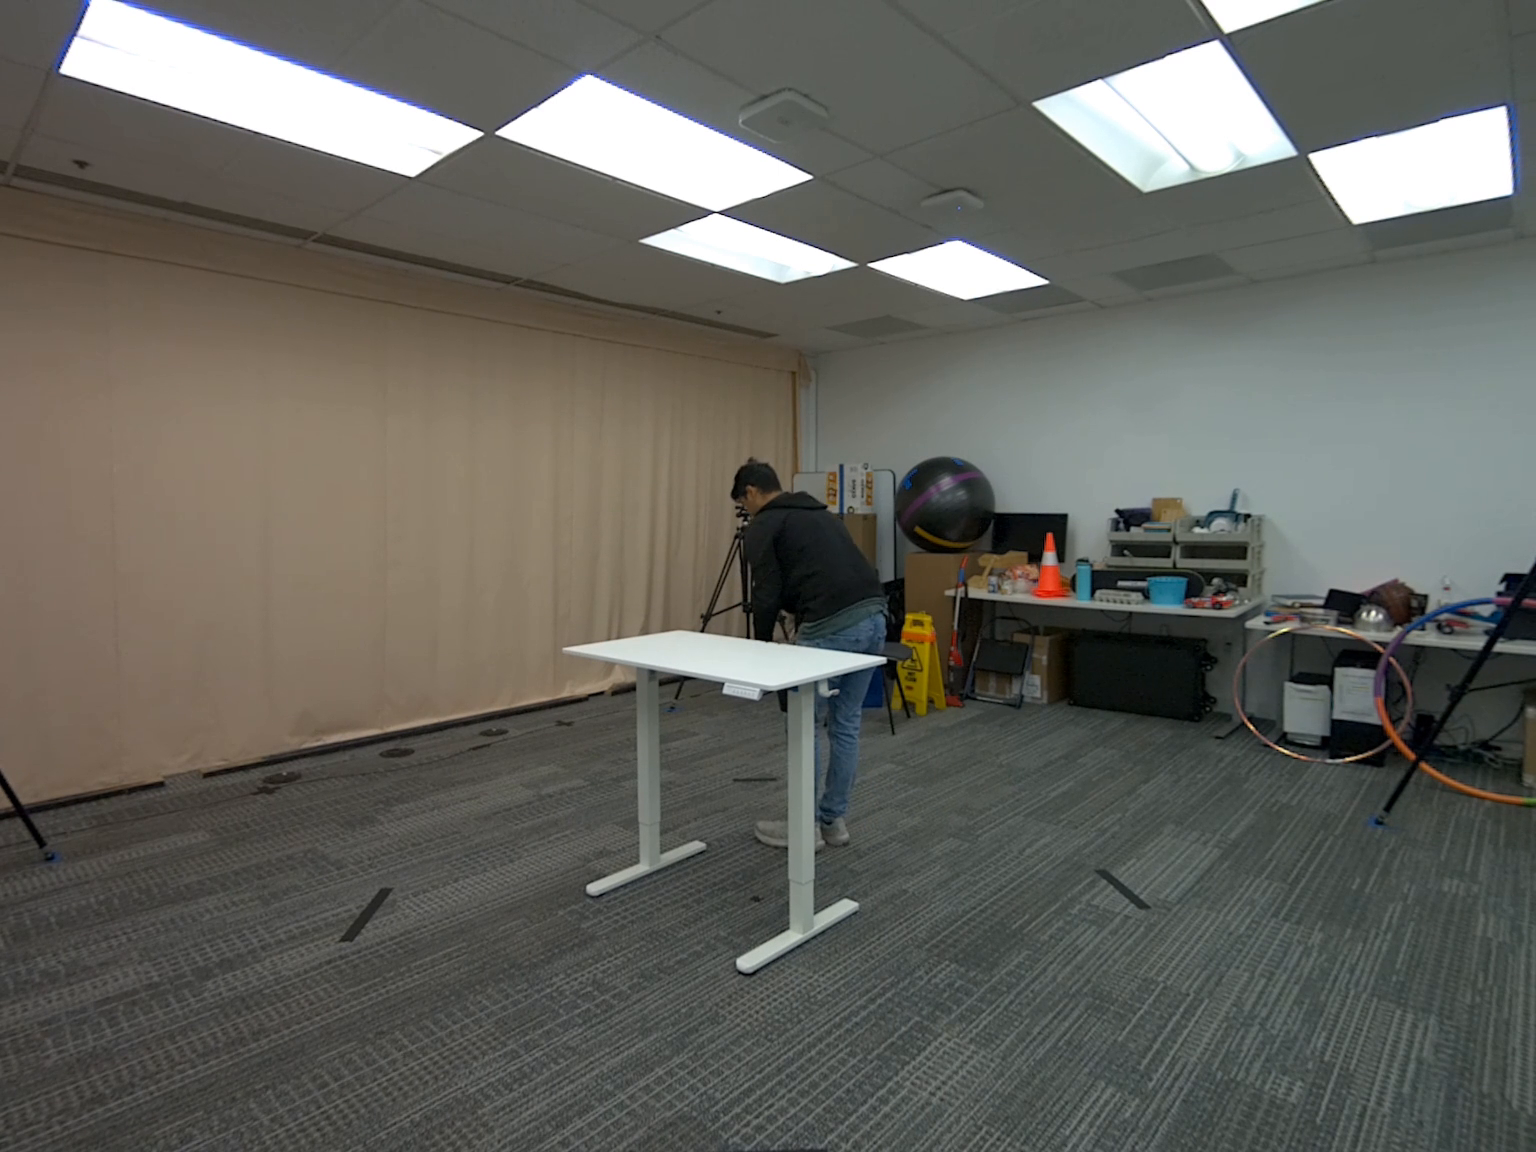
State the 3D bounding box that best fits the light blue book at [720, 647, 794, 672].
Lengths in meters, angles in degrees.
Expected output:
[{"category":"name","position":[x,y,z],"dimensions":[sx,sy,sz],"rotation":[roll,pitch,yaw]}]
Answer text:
[{"category":"light blue book","position":[-0.050,0.365,3.733],"dimensions":[0.269,0.059,0.185],"rotation":[2,4,42]}]
